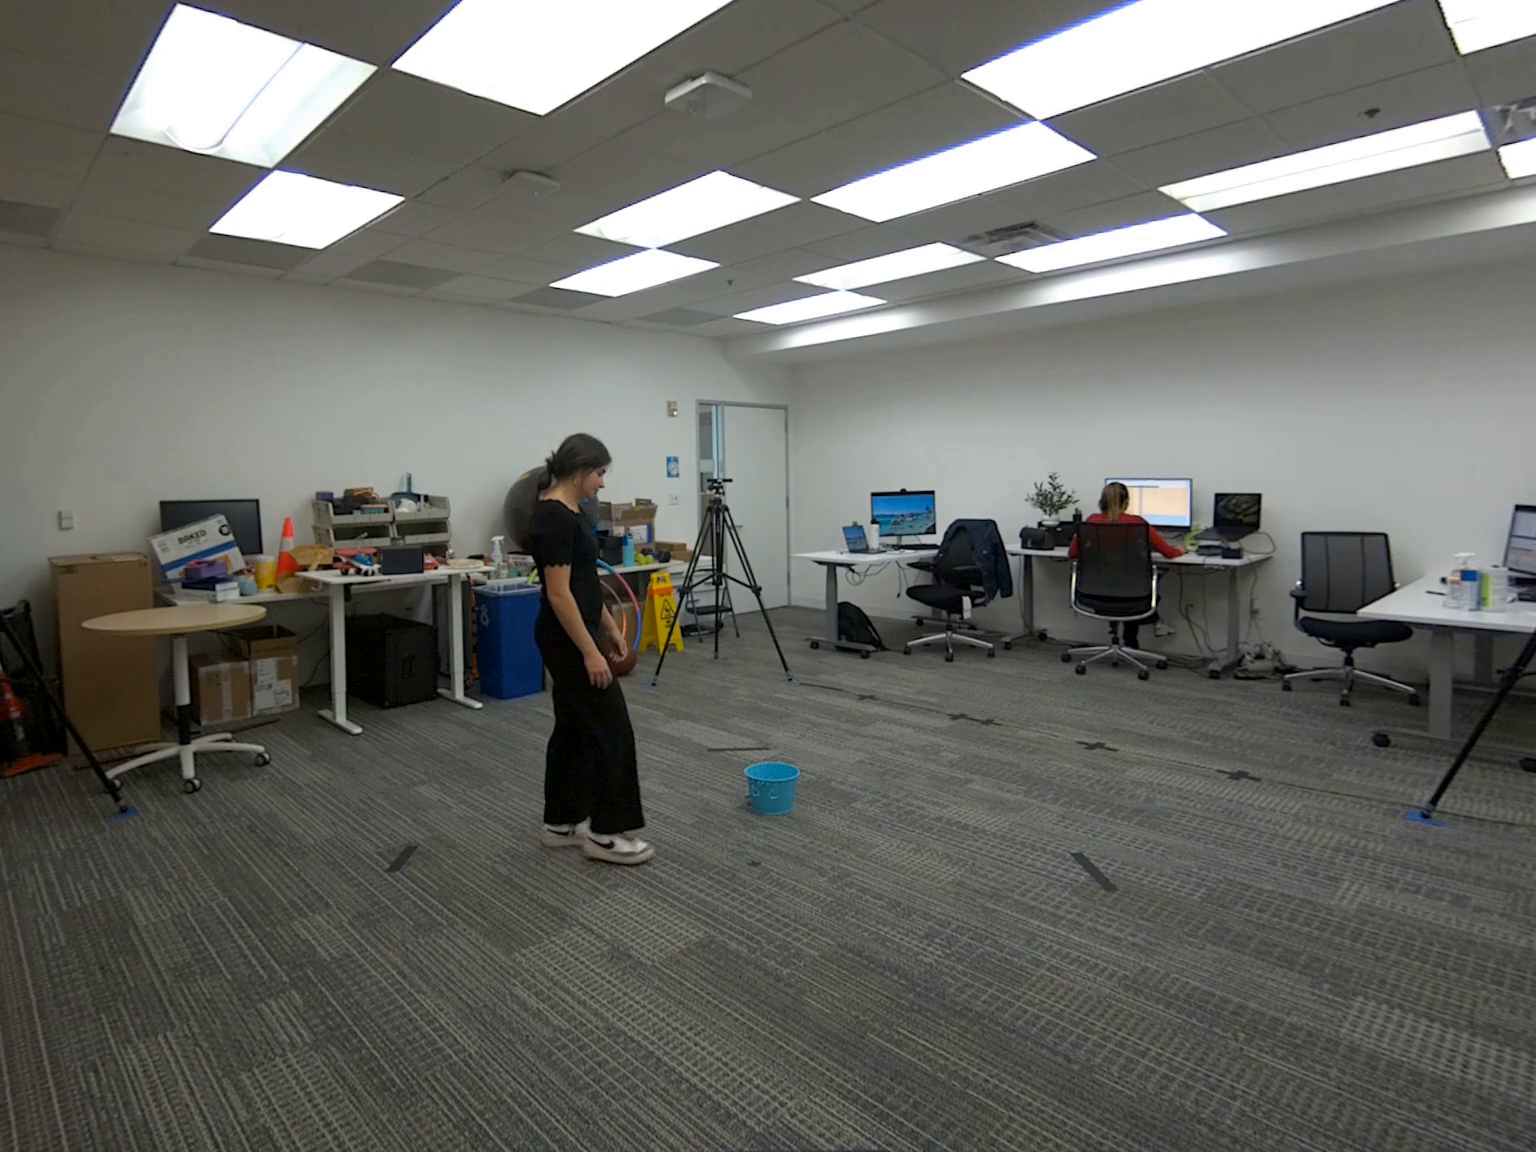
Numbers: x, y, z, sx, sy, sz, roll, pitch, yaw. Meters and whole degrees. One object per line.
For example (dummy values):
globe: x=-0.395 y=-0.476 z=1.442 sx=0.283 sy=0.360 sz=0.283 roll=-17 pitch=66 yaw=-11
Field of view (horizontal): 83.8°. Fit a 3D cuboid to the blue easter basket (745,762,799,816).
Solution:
blue easter basket: x=0.017 y=0.904 z=3.649 sx=0.243 sy=0.155 sz=0.245 roll=-1 pitch=5 yaw=-2
